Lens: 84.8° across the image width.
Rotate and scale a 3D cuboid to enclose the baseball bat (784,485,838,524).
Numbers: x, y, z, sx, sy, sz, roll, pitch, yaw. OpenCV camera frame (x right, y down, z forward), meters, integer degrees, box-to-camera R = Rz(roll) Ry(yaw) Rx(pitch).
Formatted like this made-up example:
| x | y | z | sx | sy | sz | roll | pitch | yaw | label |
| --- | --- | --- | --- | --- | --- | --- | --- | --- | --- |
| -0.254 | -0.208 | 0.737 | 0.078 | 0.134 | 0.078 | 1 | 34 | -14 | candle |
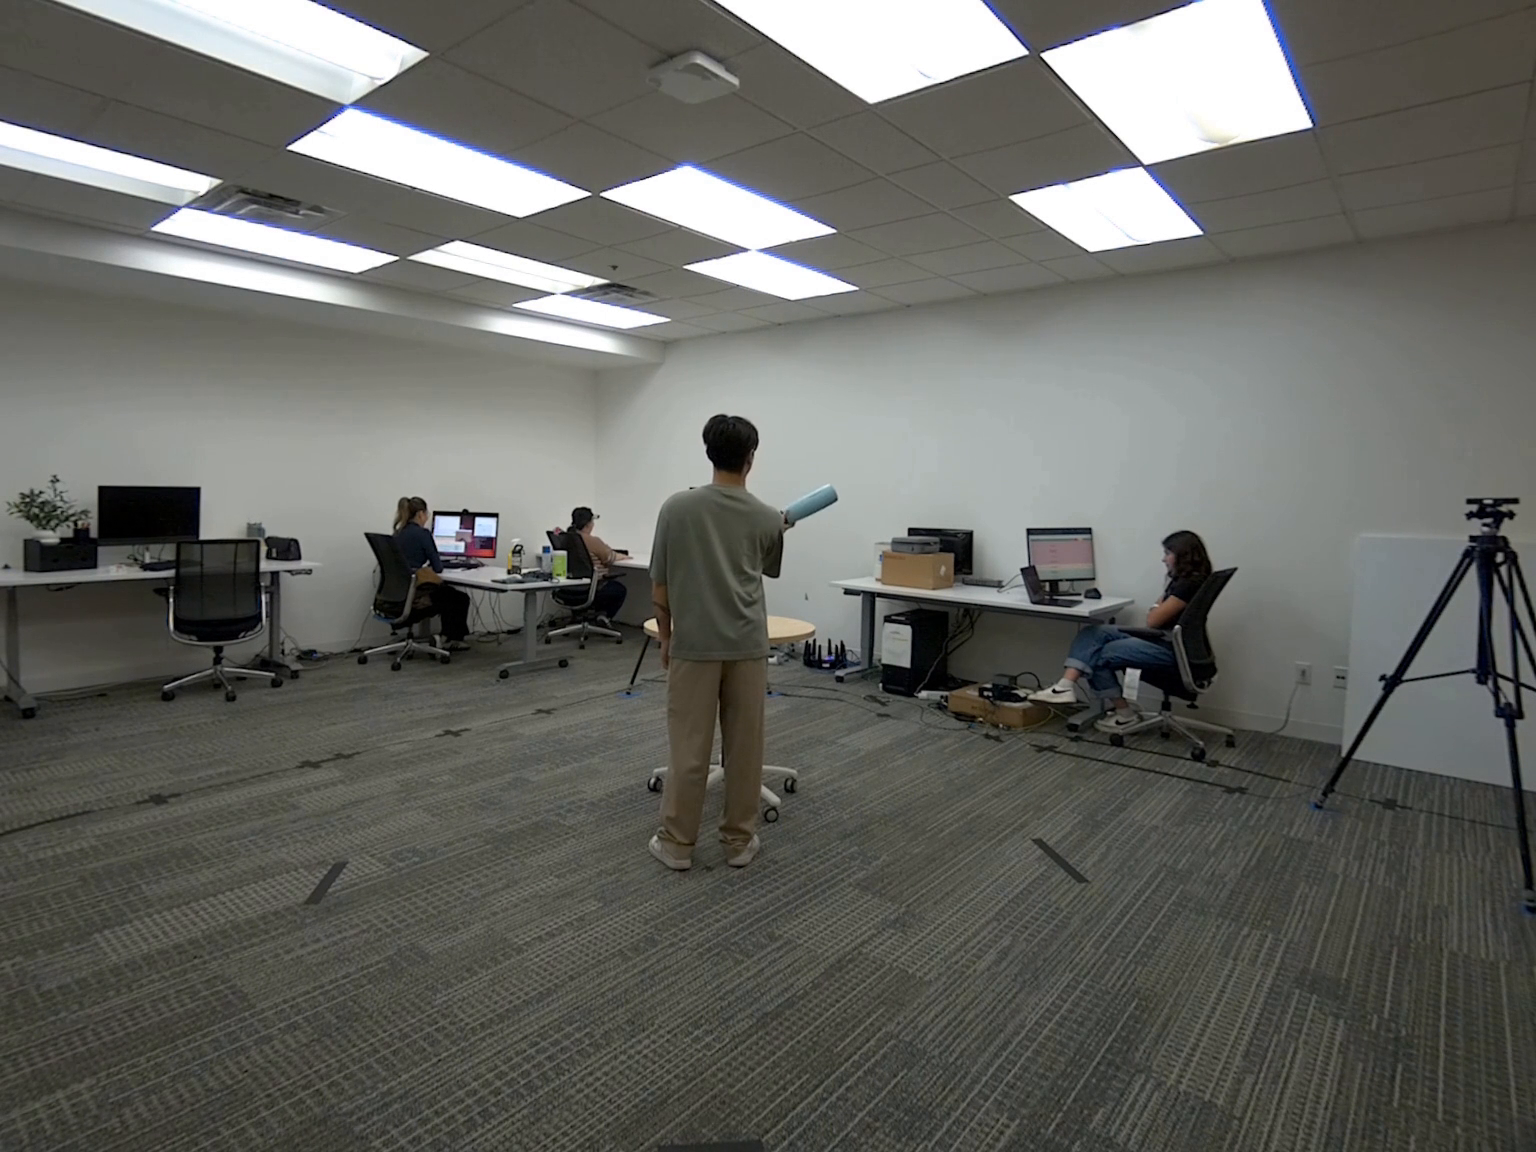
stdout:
| x | y | z | sx | sy | sz | roll | pitch | yaw | label |
| --- | --- | --- | --- | --- | --- | --- | --- | --- | --- |
| 0.042 | -0.256 | 3.692 | 0.541 | 0.088 | 0.090 | -29 | 9 | -6 | baseball bat |
